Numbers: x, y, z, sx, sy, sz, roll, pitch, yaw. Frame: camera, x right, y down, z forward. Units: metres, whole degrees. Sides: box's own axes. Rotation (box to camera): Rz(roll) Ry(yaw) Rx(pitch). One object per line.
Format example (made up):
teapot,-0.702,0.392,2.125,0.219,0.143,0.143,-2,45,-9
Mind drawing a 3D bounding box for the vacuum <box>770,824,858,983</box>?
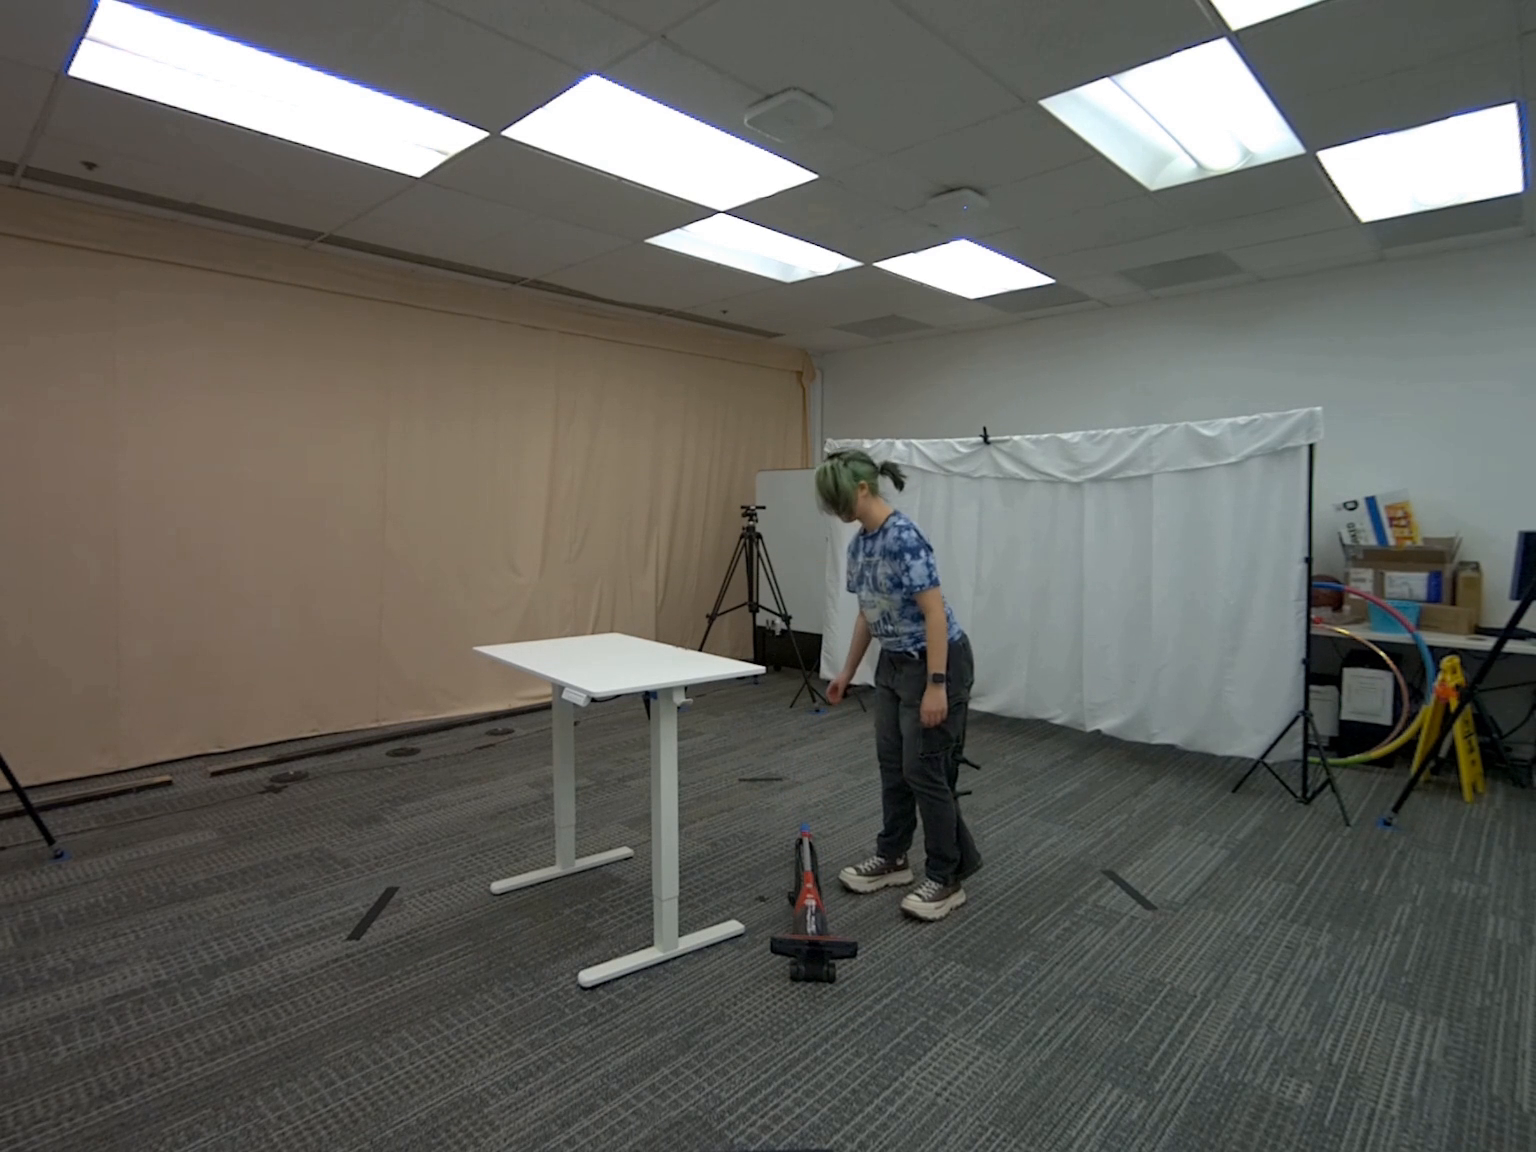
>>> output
vacuum,0.135,1.083,2.958,0.253,0.144,1.049,1,4,0
